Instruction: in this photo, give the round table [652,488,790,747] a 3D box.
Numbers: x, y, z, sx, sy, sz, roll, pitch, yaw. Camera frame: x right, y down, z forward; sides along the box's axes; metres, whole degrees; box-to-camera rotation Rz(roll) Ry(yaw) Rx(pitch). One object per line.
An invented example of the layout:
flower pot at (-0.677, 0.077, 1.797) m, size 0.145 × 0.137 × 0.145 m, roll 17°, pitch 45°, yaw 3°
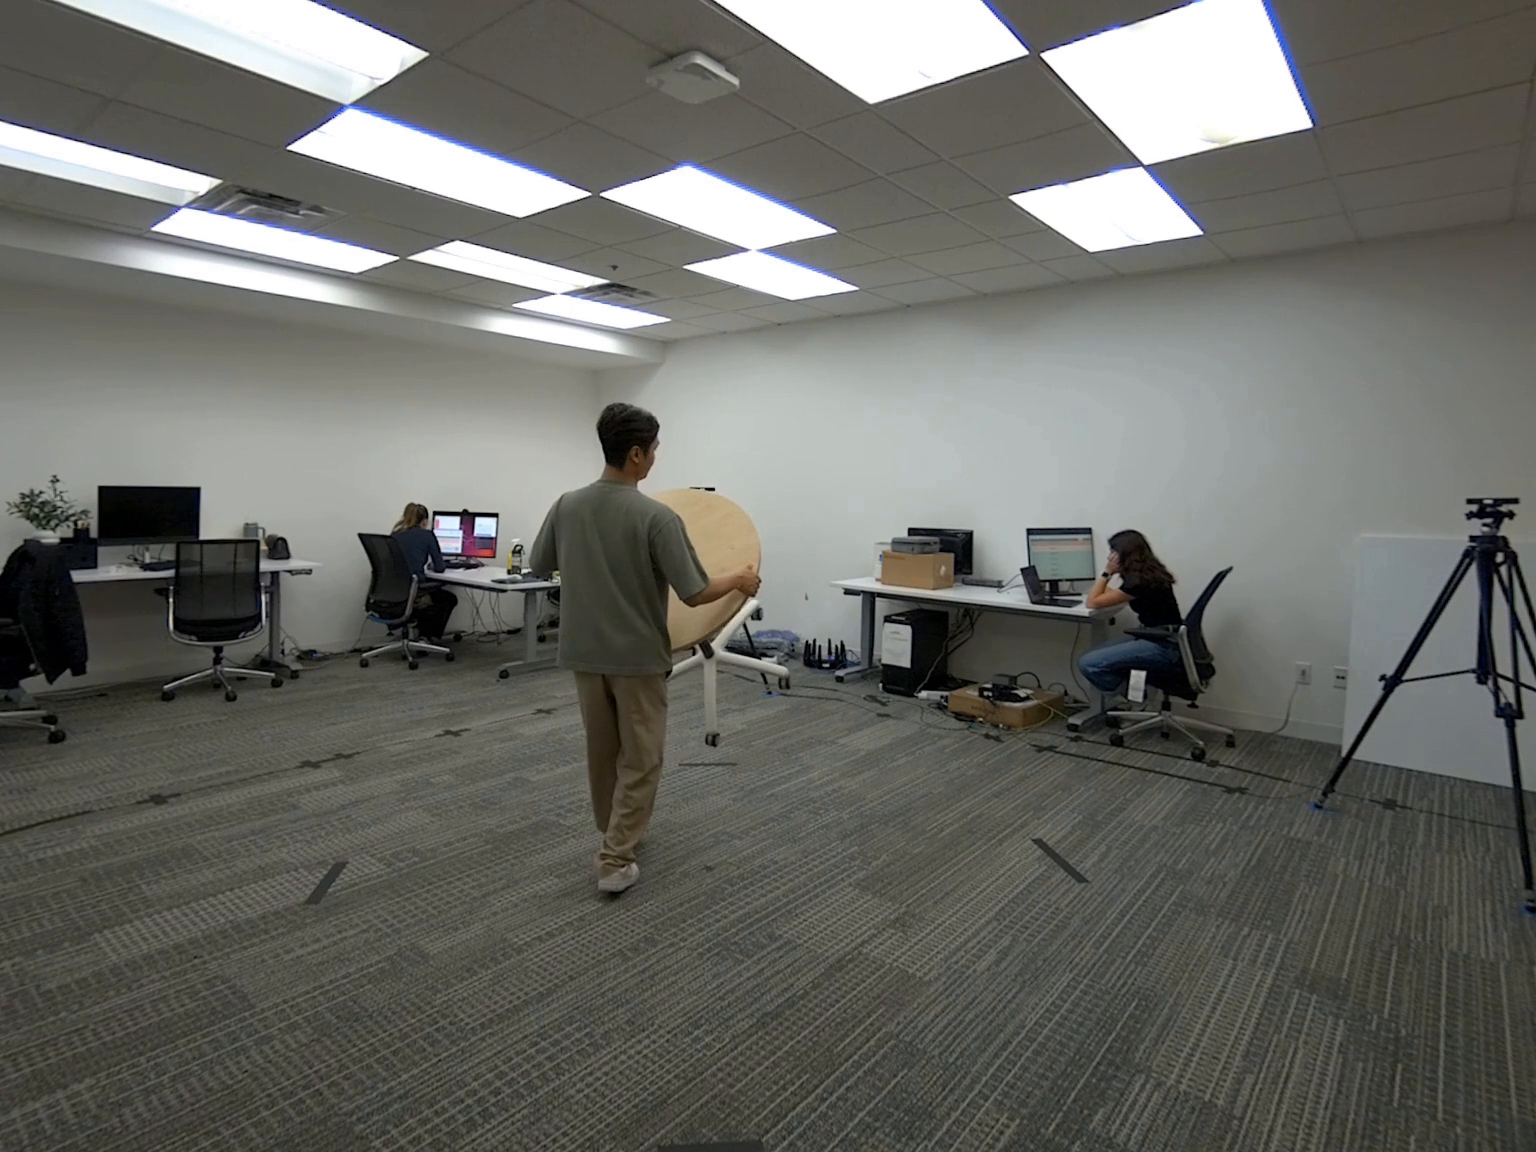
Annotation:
round table at (-0.318, 0.191, 3.514) m, size 0.802 × 0.799 × 0.756 m, roll 2°, pitch -35°, yaw 19°
